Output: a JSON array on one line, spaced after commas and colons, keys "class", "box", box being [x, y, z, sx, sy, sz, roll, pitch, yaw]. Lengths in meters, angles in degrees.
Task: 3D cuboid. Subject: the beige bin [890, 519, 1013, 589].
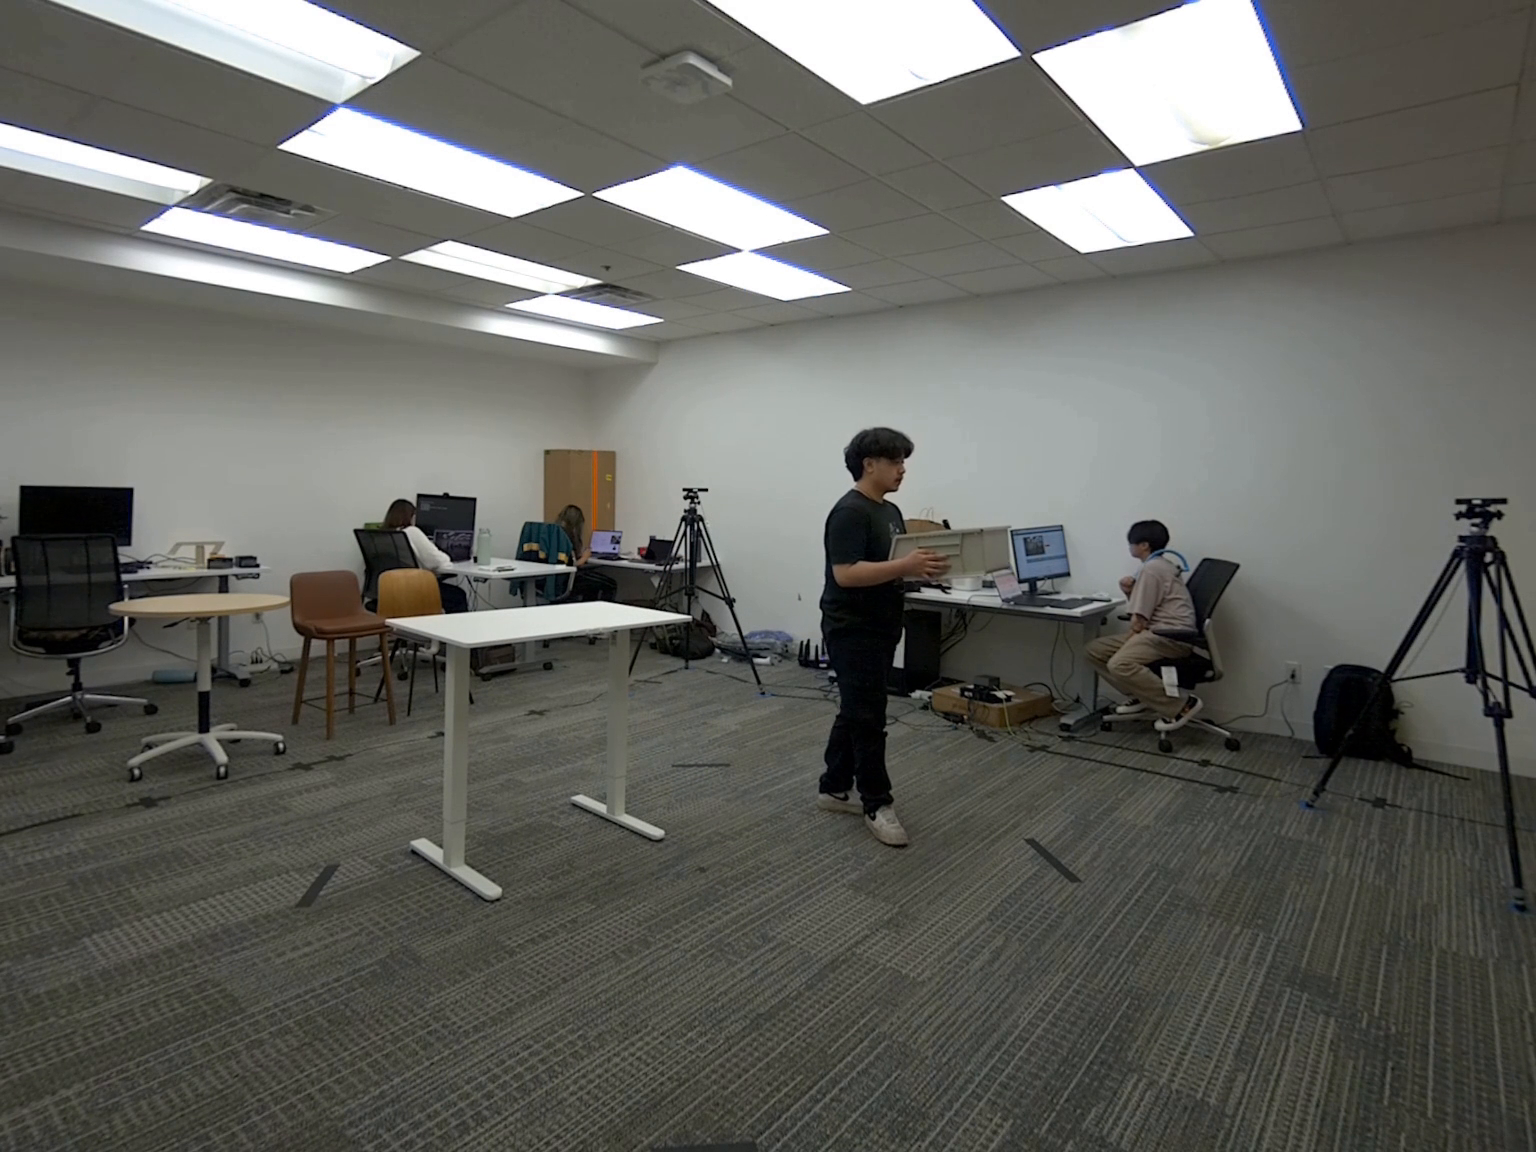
[{"class": "beige bin", "box": [0.730, -0.097, 3.391, 0.387, 0.189, 0.411, -3, 2, 30]}]
